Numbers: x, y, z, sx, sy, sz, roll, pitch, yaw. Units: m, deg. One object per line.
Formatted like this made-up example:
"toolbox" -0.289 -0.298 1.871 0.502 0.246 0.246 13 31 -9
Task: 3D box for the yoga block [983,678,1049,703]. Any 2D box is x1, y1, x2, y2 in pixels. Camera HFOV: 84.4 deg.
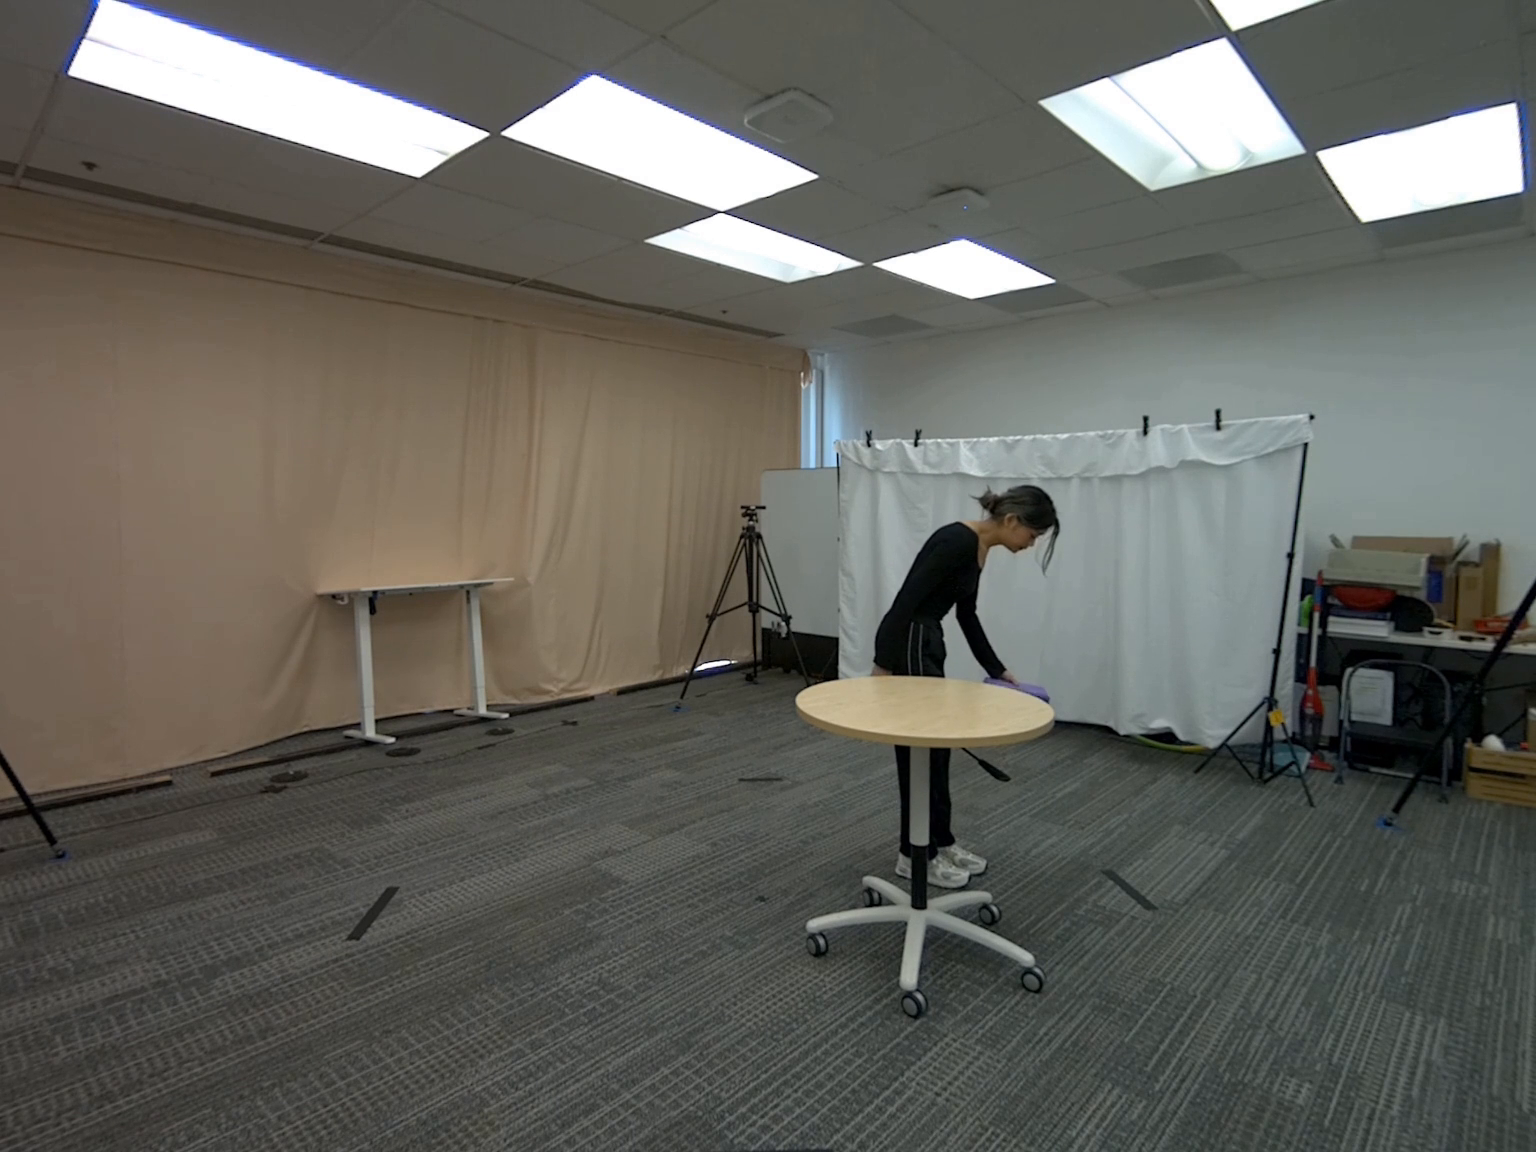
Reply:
"yoga block" 0.965 0.466 3.230 0.233 0.076 0.147 9 8 12
